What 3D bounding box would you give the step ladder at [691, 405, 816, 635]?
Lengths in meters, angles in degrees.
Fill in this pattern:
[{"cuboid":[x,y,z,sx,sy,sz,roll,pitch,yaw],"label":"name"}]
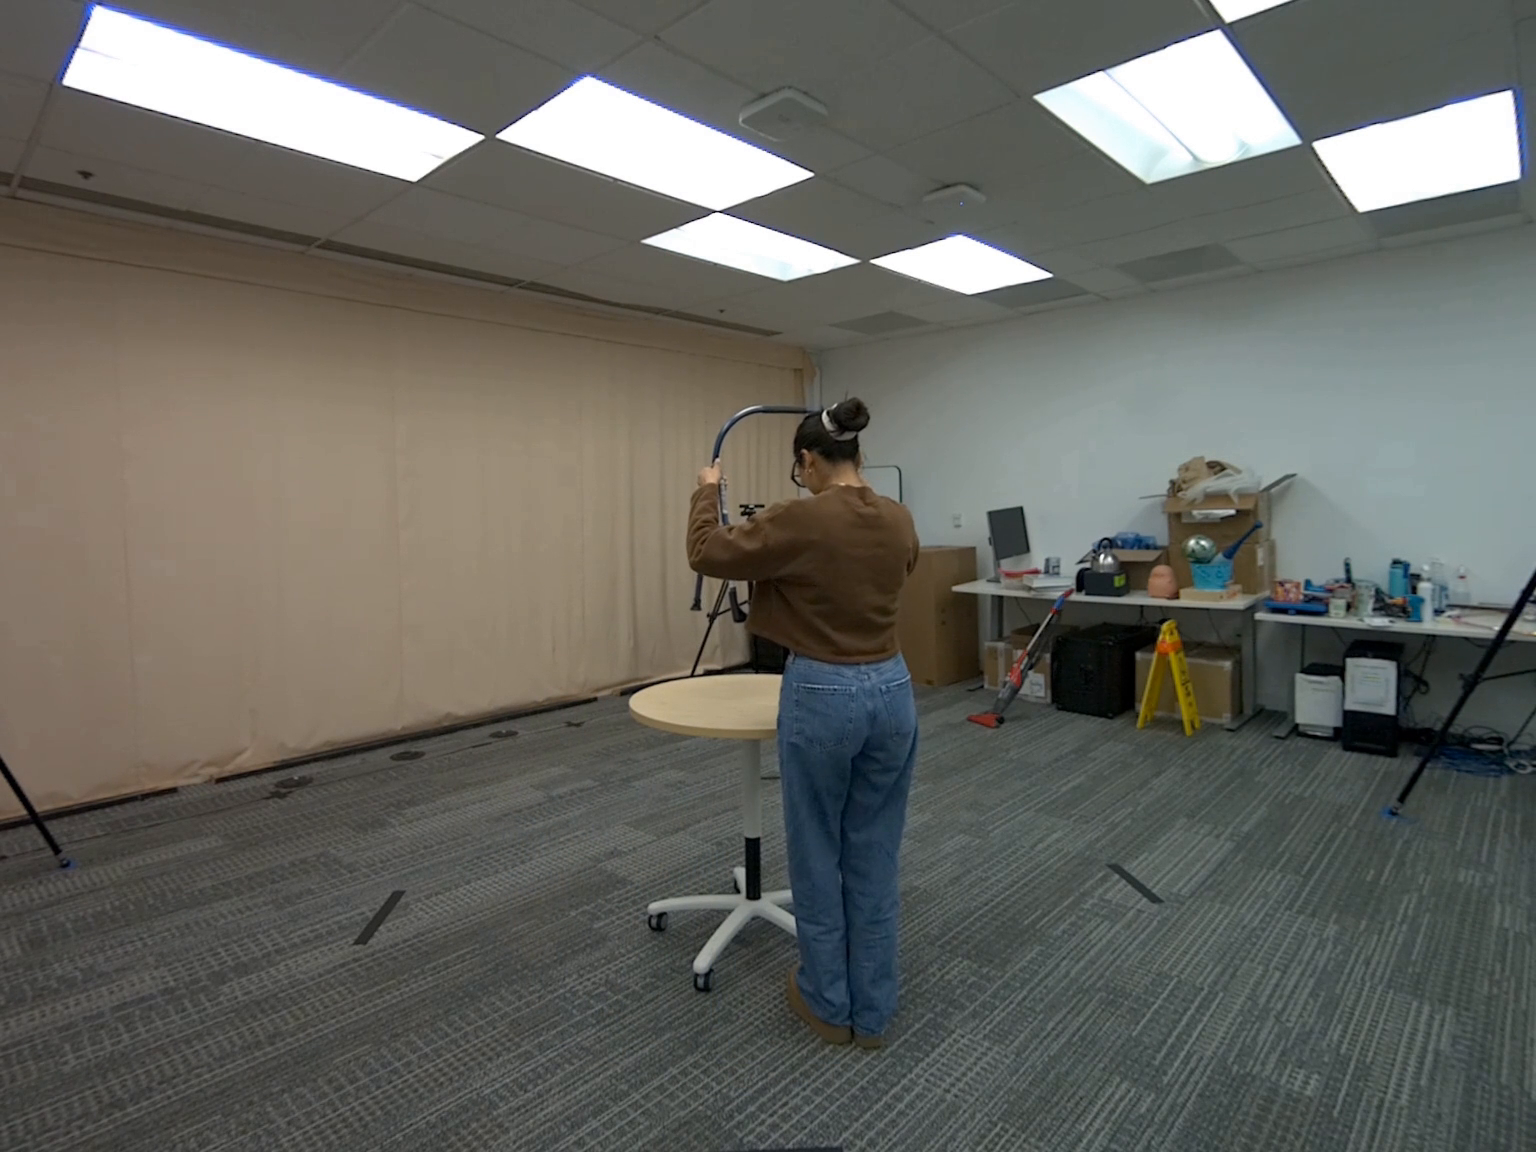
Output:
[{"cuboid":[0.024,-0.194,2.516,0.421,0.604,0.358,-3,5,-24],"label":"step ladder"}]
